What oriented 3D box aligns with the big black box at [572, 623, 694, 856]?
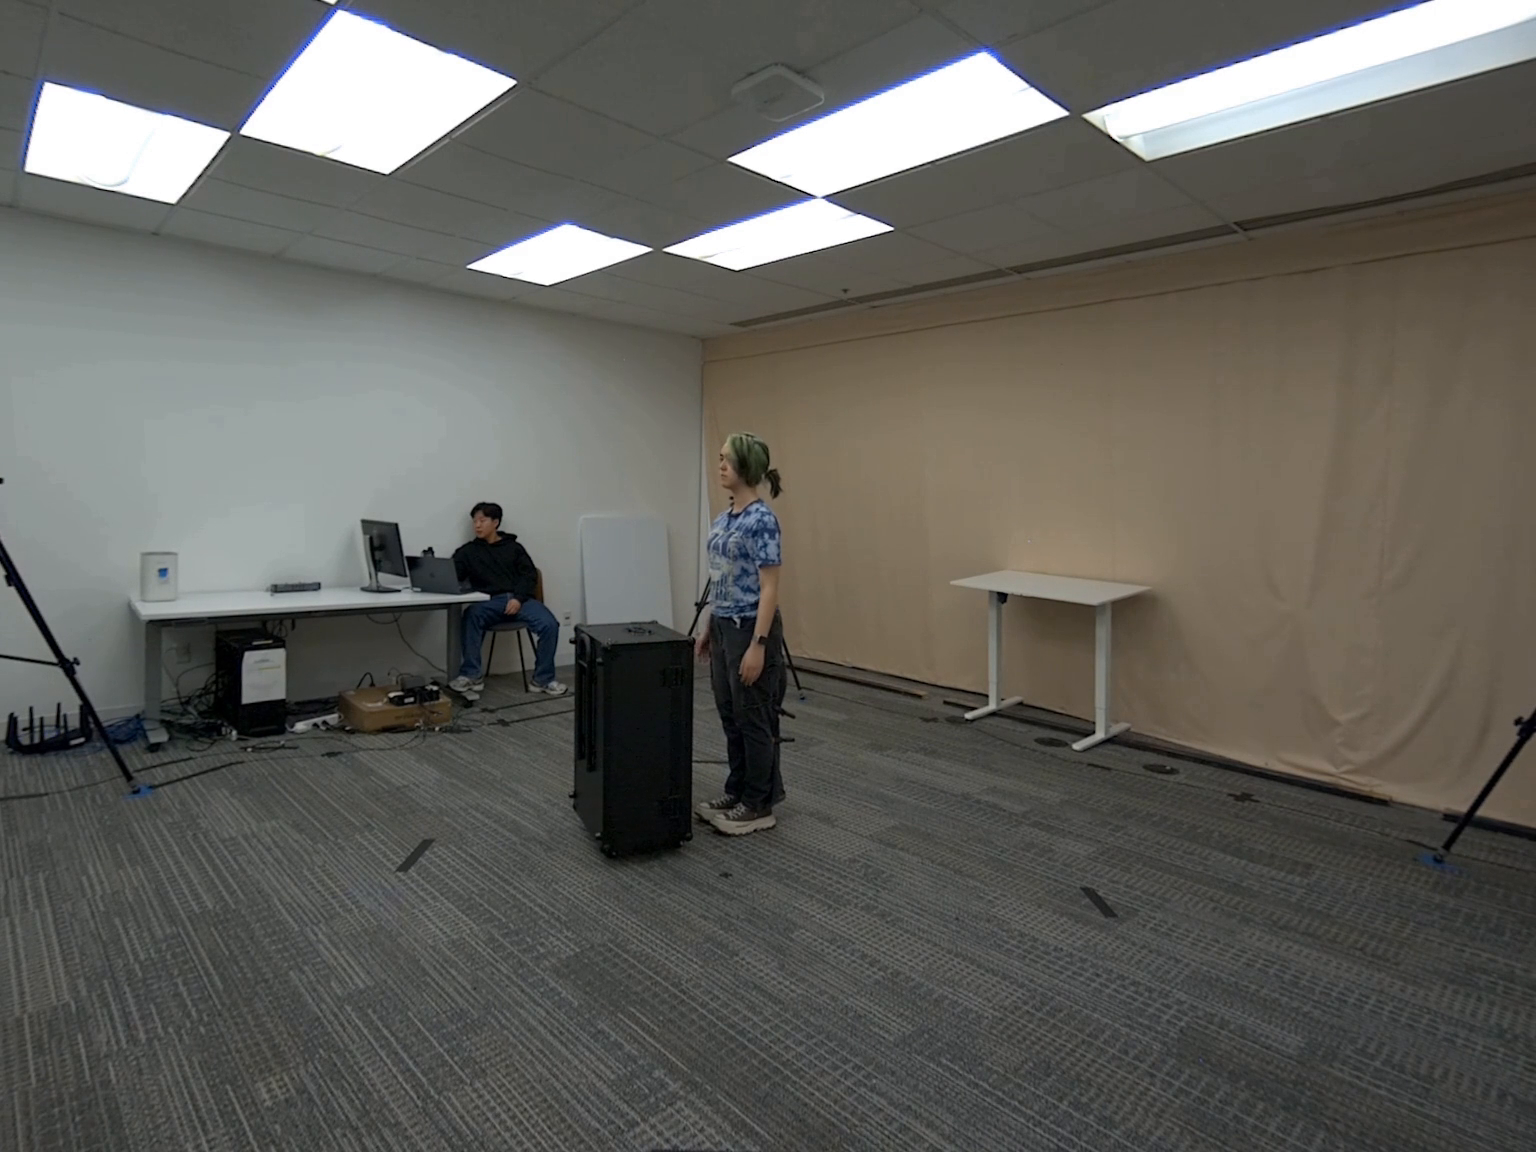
[{"bbox_3d":[-0.561,0.589,3.362,0.389,0.859,0.532,0,5,-25],"label":"big black box"}]
